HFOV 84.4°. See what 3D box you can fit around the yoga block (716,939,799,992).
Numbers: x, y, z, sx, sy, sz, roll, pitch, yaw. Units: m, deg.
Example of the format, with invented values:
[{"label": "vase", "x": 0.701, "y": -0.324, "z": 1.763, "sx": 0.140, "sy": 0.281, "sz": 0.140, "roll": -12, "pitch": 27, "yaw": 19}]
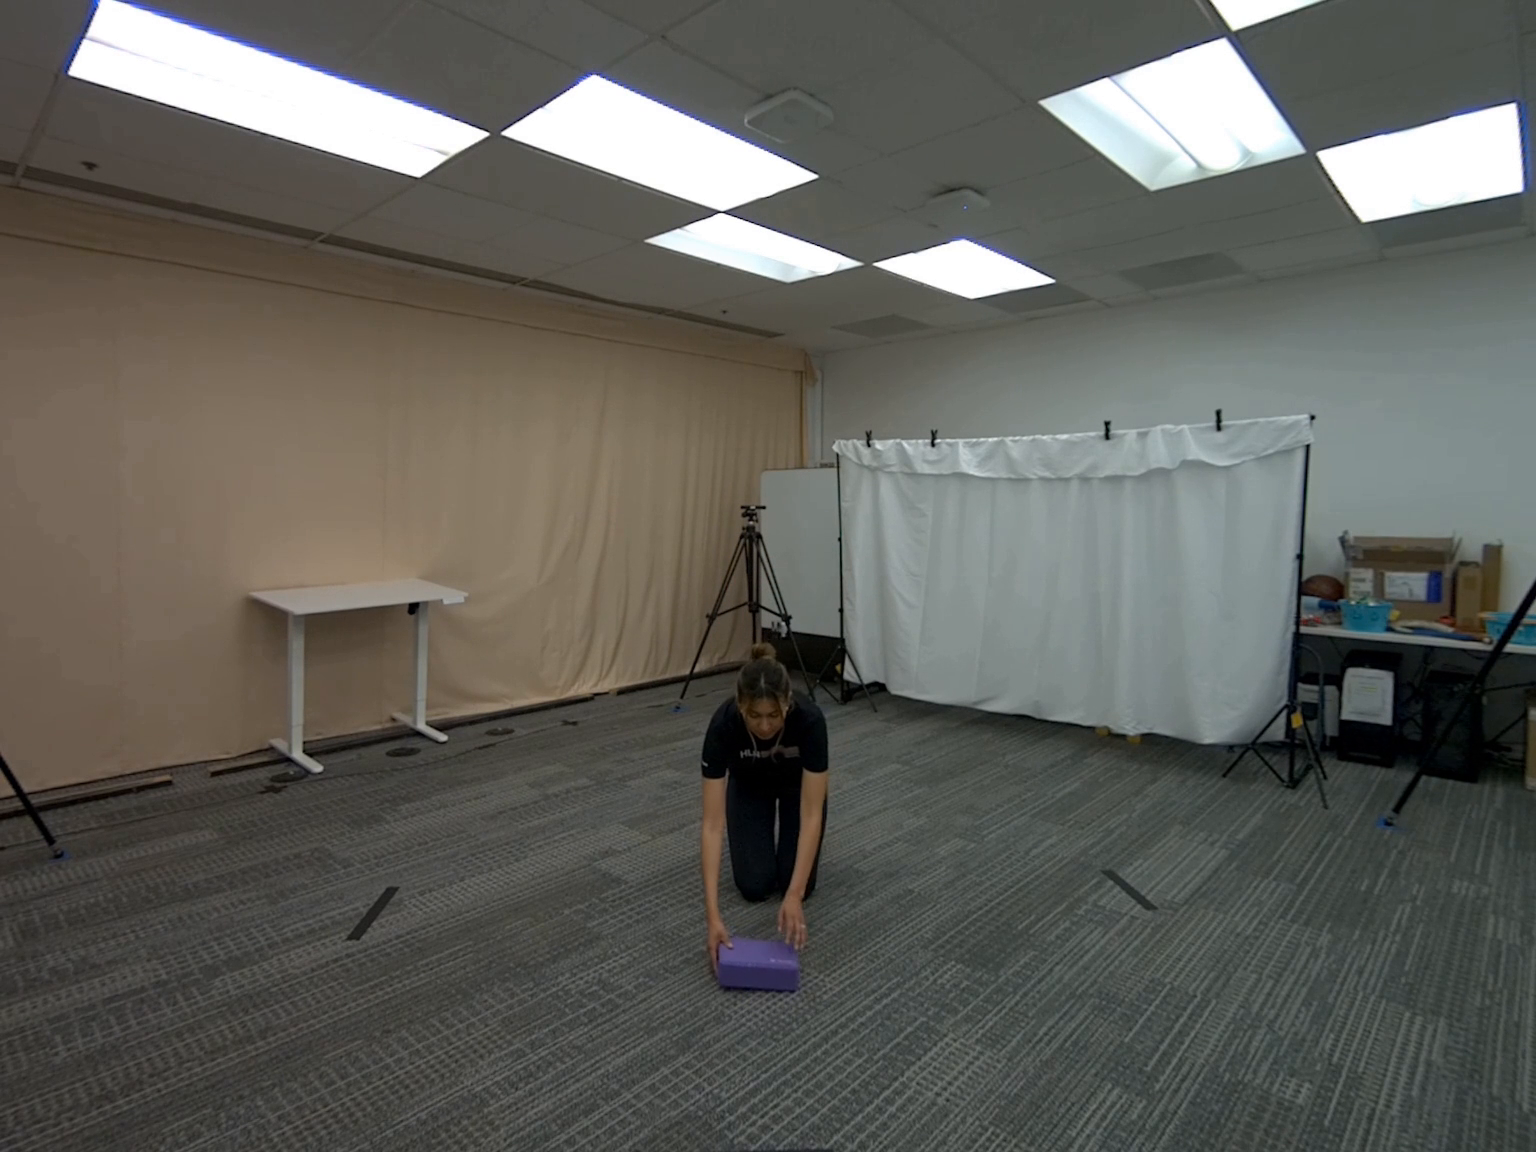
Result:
[{"label": "yoga block", "x": -0.027, "y": 1.132, "z": 2.482, "sx": 0.230, "sy": 0.076, "sz": 0.149, "roll": 5, "pitch": 4, "yaw": 1}]
